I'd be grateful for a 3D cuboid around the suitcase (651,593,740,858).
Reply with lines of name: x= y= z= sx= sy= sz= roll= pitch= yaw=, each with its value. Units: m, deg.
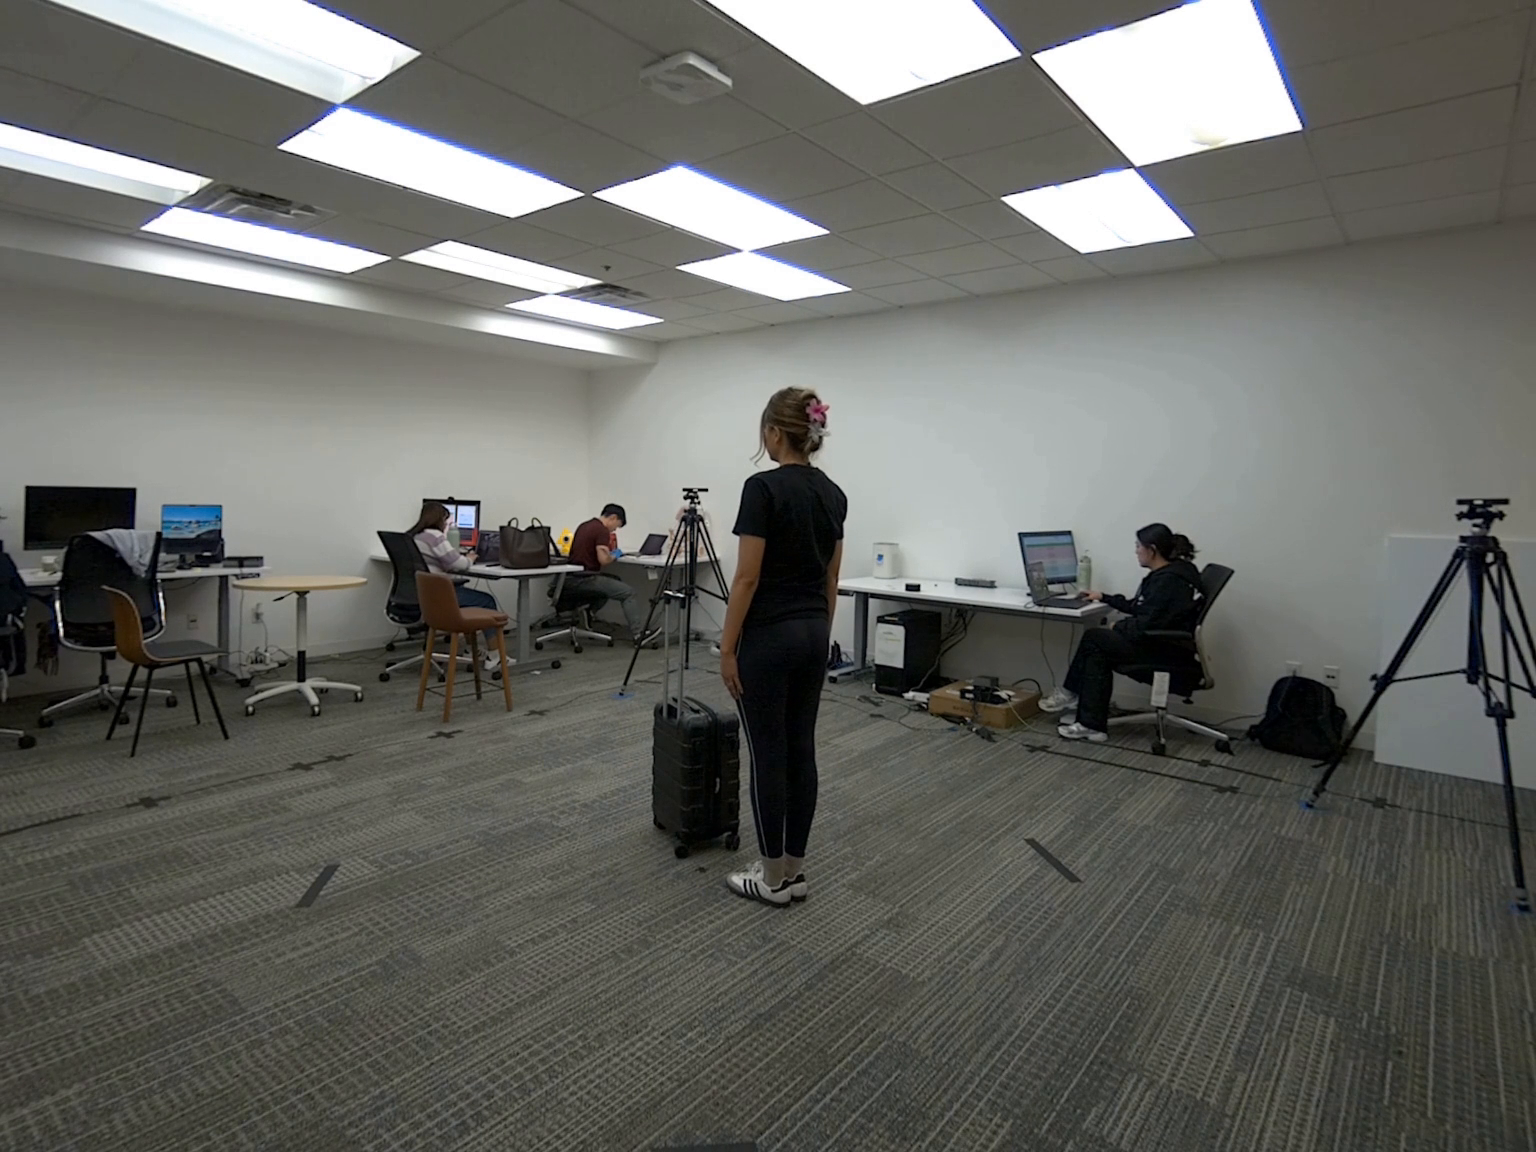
suitcase: x=-0.297 y=0.569 z=3.376 sx=0.251 sy=0.976 sz=0.394 roll=1 pitch=3 yaw=-25
